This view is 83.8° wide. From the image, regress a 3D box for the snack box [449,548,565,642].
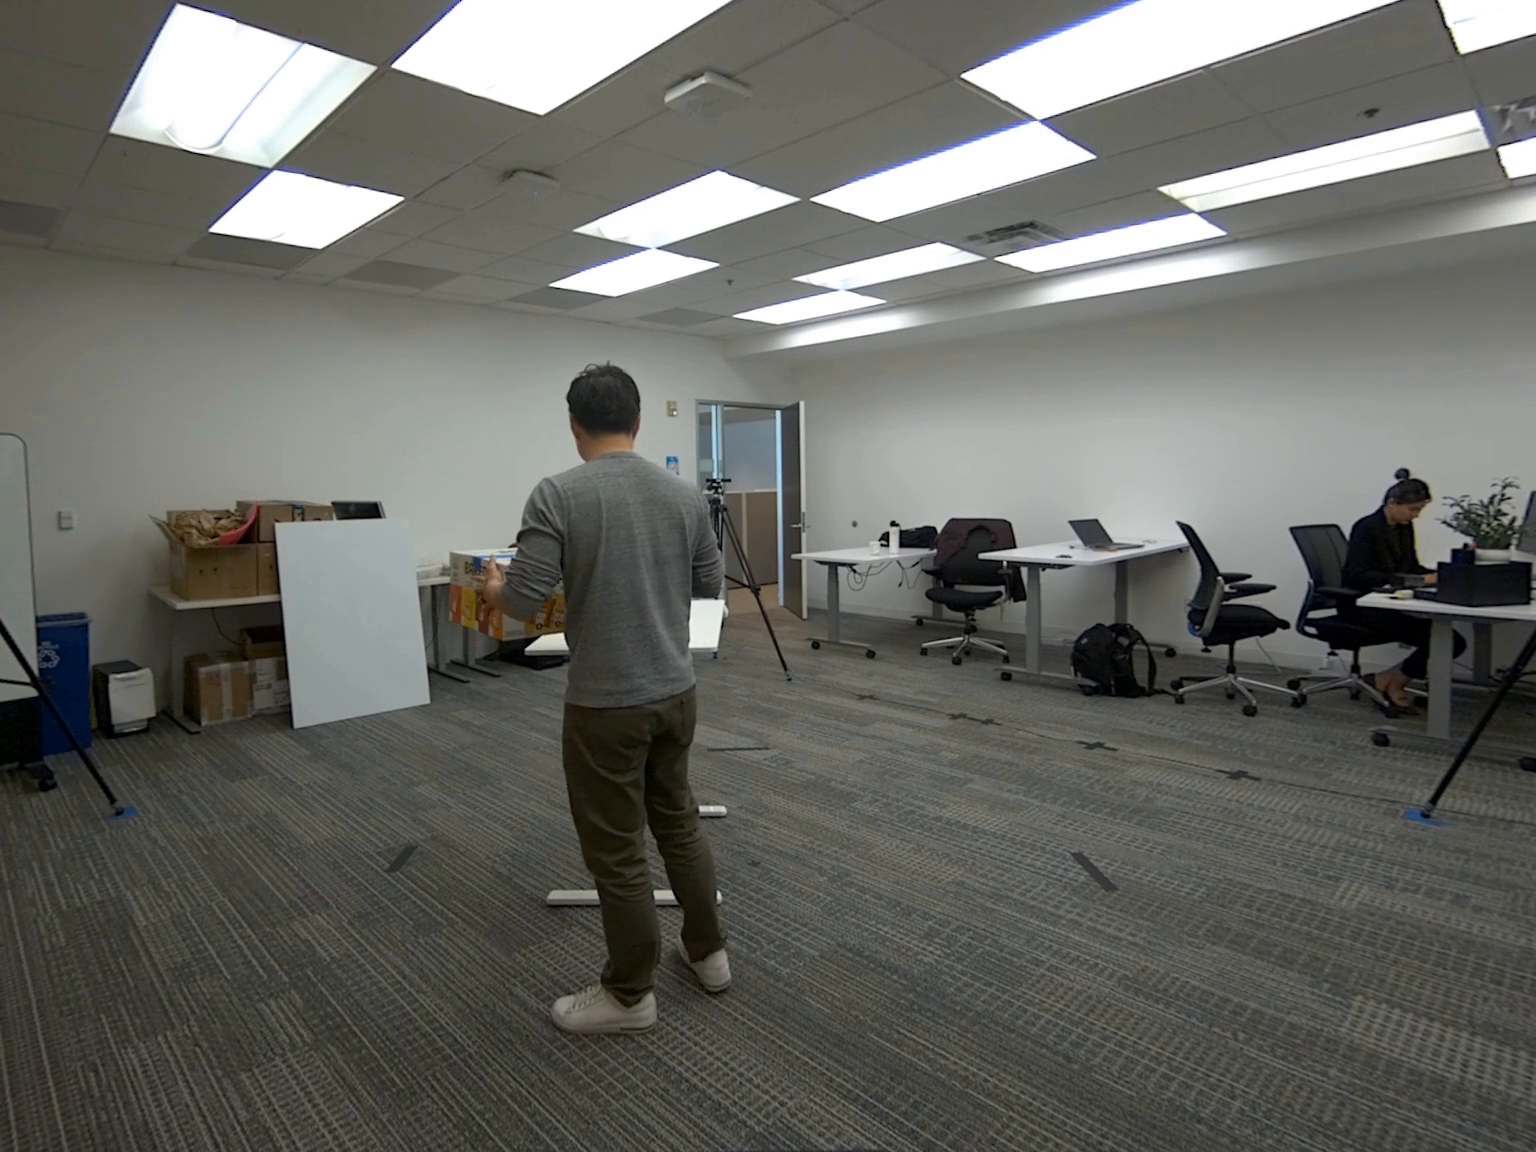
[{"bbox_3d":[-0.648,0.037,2.471,0.394,0.204,0.351,-5,10,-42],"label":"snack box"}]
